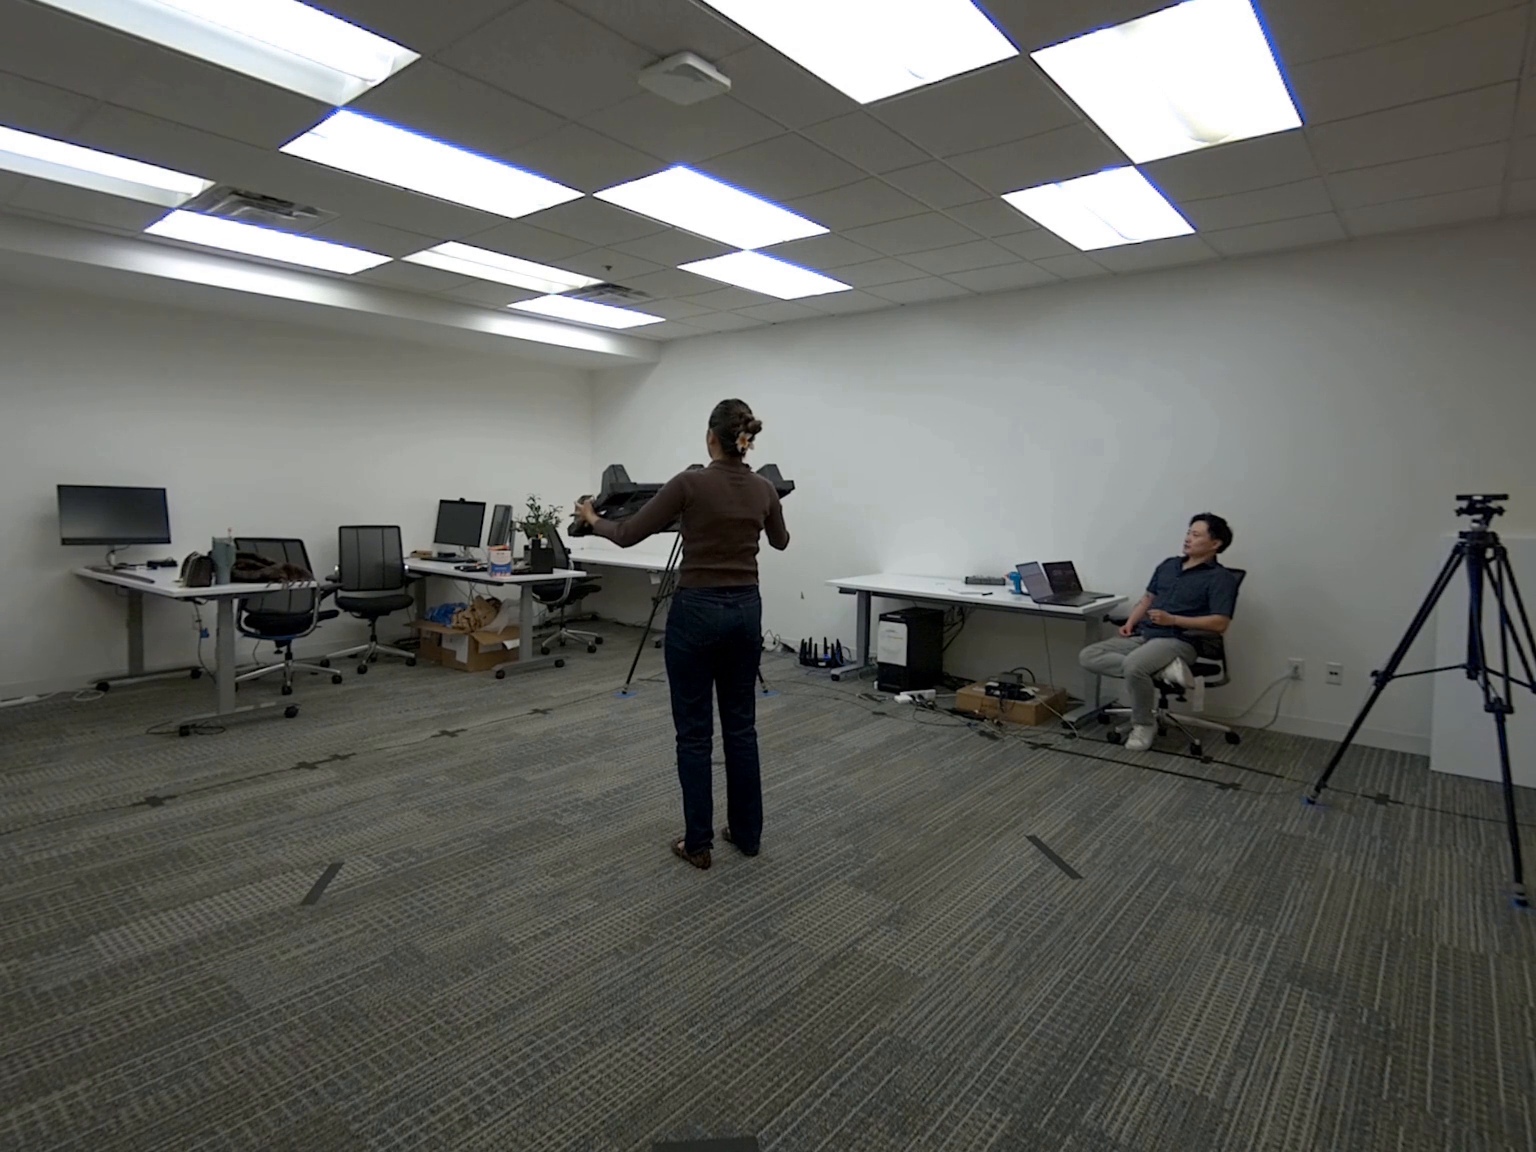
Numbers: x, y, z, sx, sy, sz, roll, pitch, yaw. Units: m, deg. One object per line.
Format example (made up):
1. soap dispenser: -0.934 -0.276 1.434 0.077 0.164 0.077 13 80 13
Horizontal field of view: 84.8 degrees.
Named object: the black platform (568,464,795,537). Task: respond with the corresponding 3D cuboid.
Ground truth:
1. black platform: -0.387 -0.320 3.560 0.786 0.145 0.611 -4 -12 -28
